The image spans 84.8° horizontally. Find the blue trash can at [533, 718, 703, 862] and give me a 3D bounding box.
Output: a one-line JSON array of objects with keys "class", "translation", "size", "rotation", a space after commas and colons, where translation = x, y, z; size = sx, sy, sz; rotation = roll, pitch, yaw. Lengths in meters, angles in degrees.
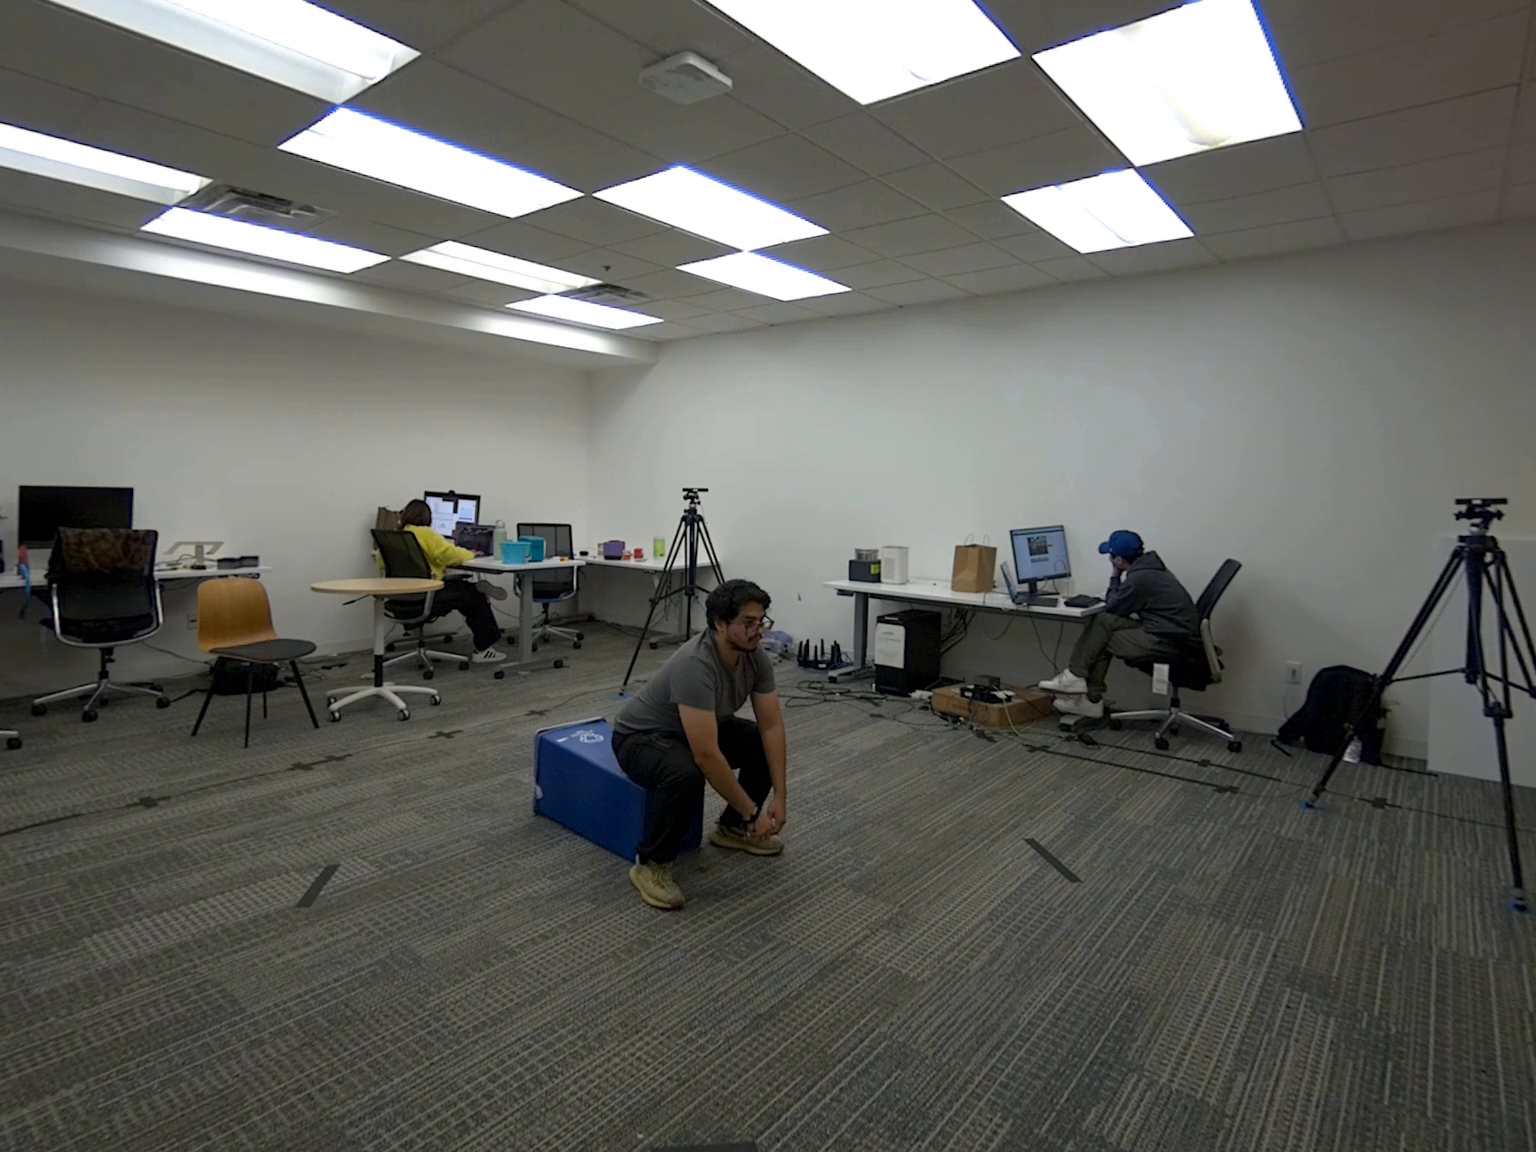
[{"class": "blue trash can", "translation": [-0.625, 0.853, 3.456], "size": [0.739, 0.372, 0.366], "rotation": [8, 8, 44]}]
